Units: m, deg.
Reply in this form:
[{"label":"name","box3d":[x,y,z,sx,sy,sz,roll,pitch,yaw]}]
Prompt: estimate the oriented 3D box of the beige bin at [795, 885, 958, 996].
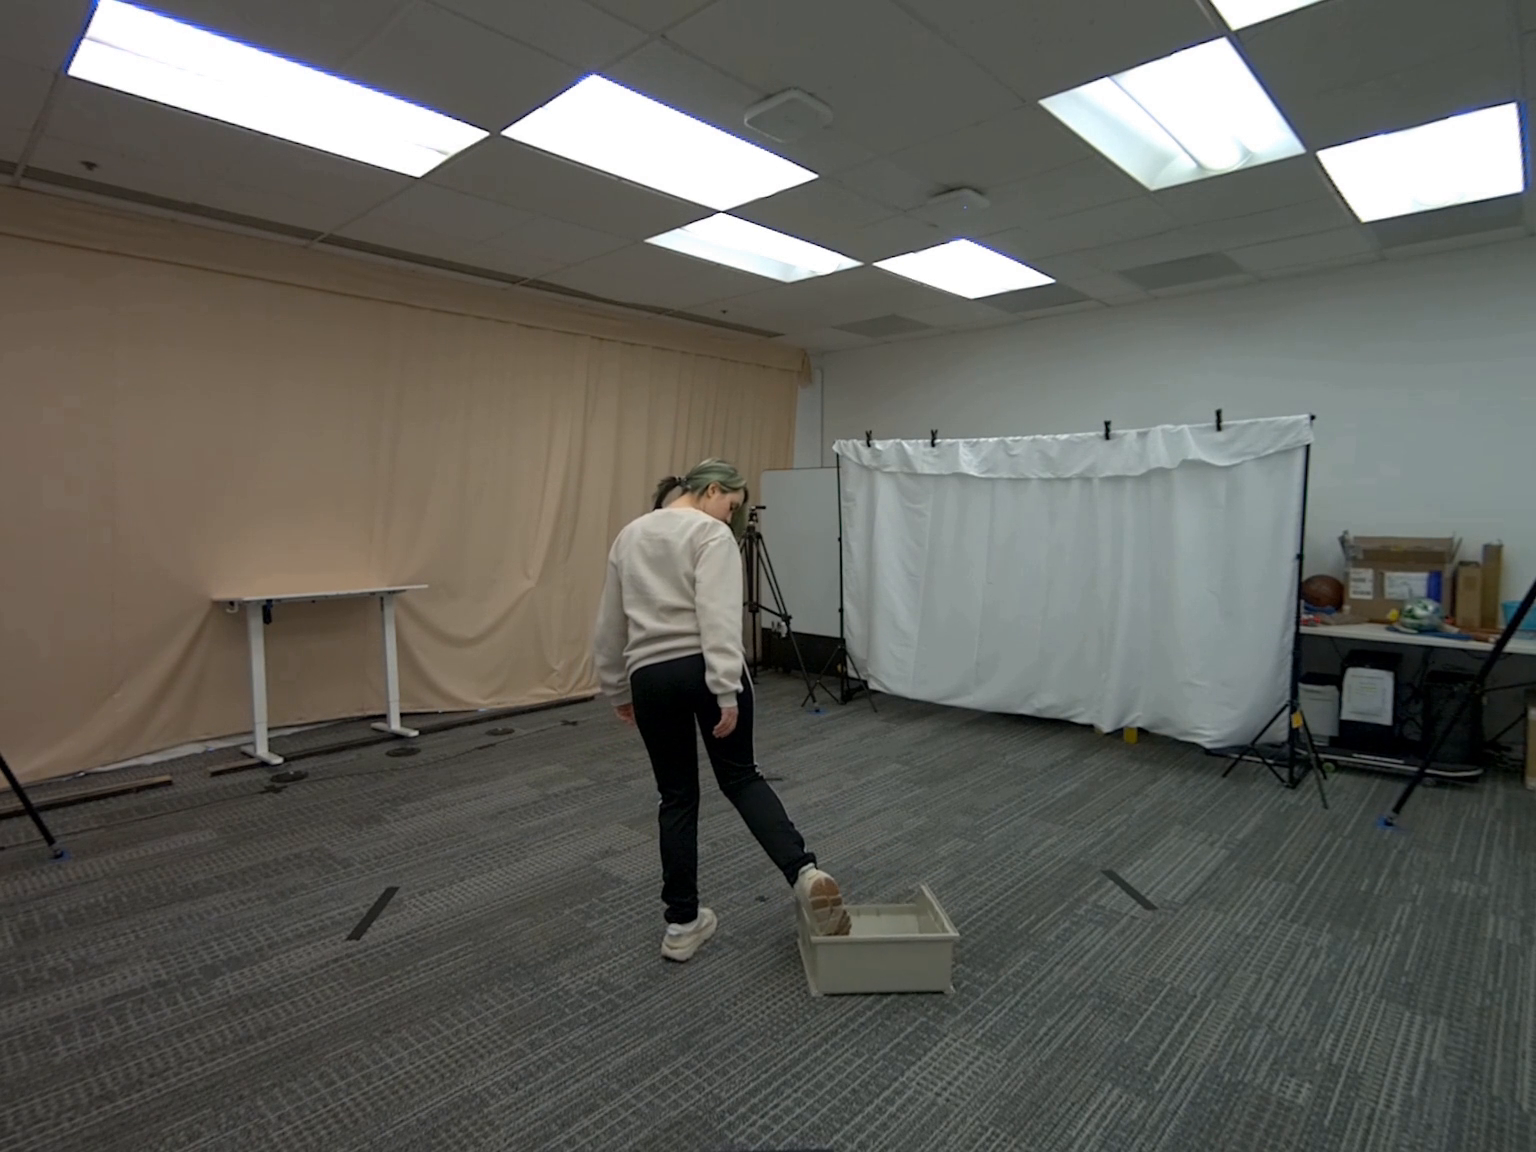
[{"label":"beige bin","box3d":[0.314,1.088,2.557,0.421,0.188,0.380,-1,5,-4]}]
